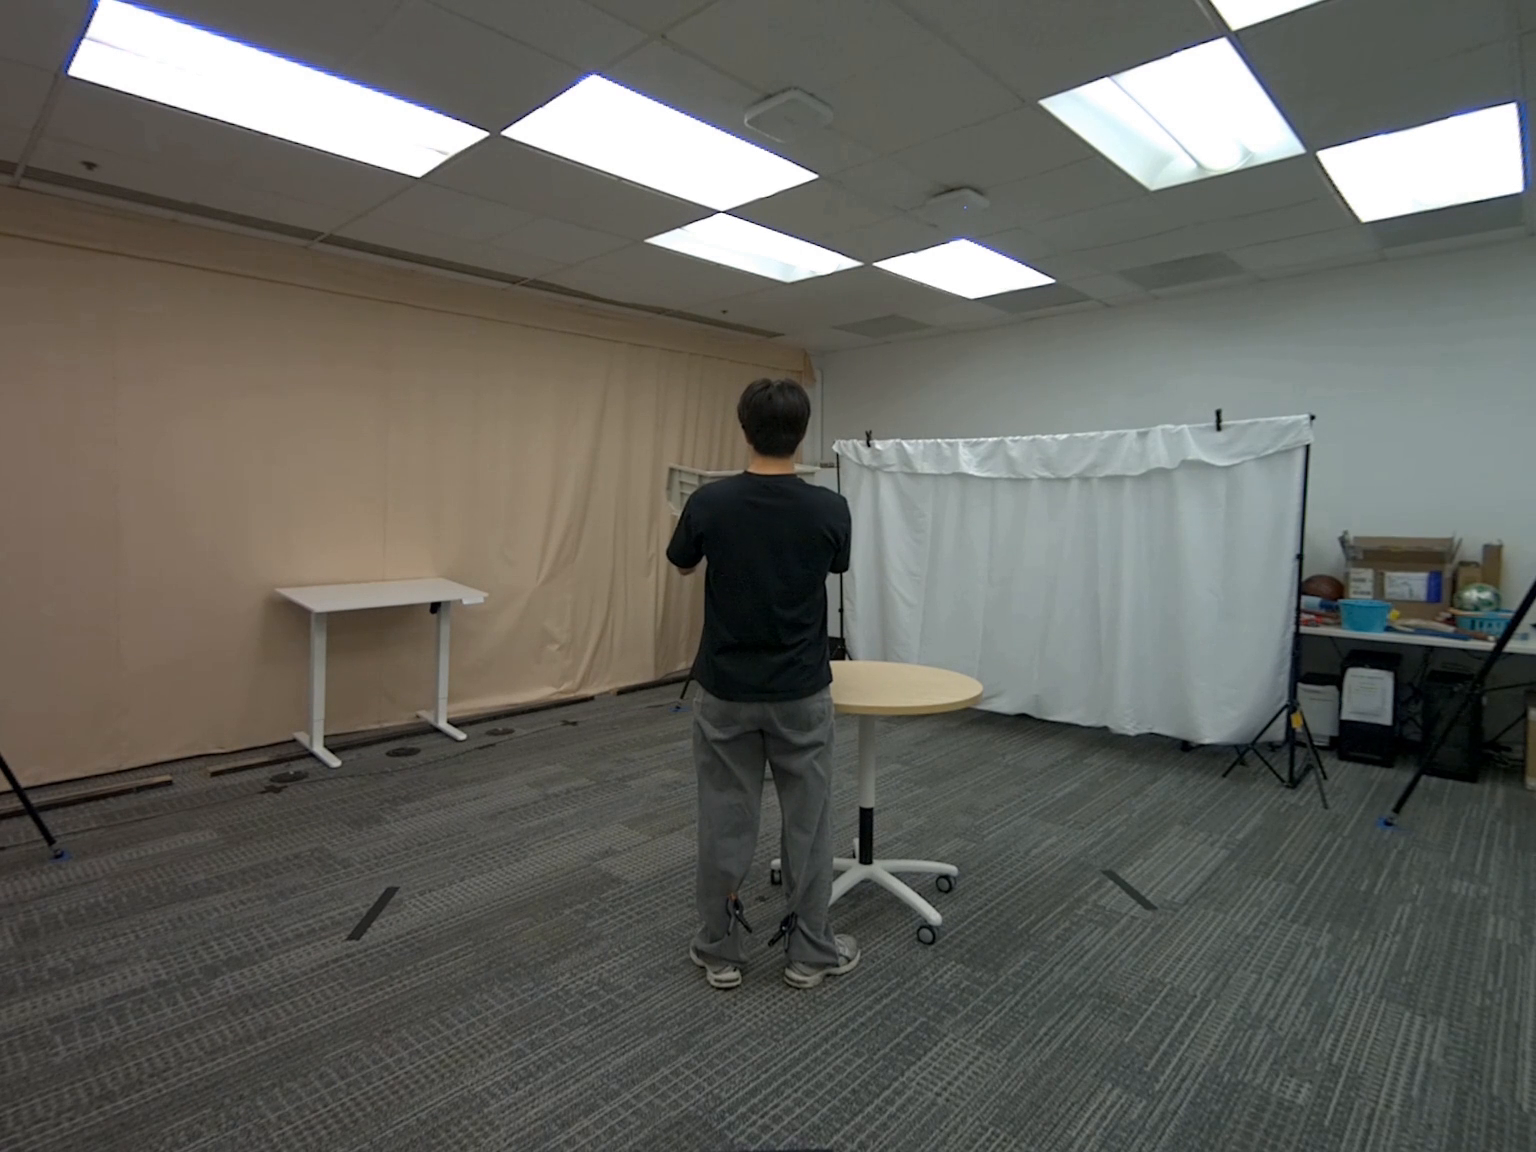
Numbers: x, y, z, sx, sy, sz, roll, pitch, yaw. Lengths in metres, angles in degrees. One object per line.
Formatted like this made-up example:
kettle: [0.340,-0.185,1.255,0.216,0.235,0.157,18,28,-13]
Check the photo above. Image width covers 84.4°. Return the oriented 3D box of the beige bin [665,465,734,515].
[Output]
beige bin: [-0.096,-0.298,2.937,0.412,0.187,0.389,-5,14,-27]
